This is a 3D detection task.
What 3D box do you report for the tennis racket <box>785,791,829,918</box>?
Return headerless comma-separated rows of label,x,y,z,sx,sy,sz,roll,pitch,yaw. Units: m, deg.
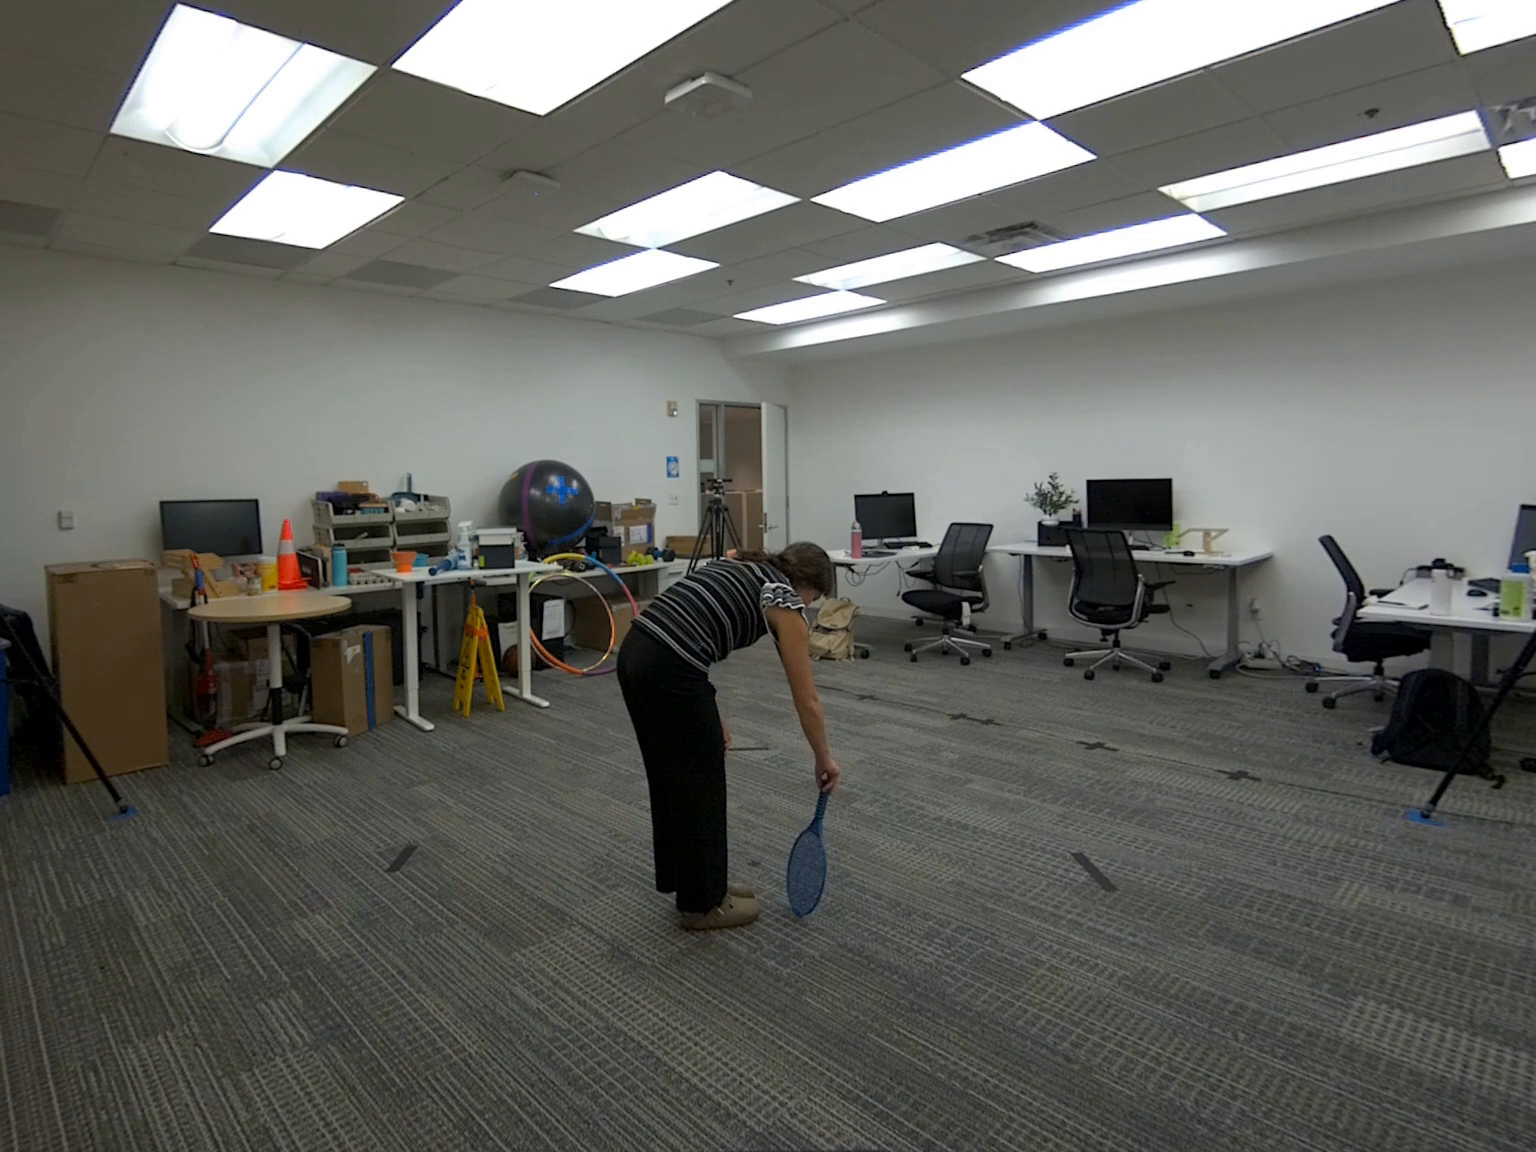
tennis racket,0.135,0.868,2.761,0.031,0.434,0.219,15,-3,-28
